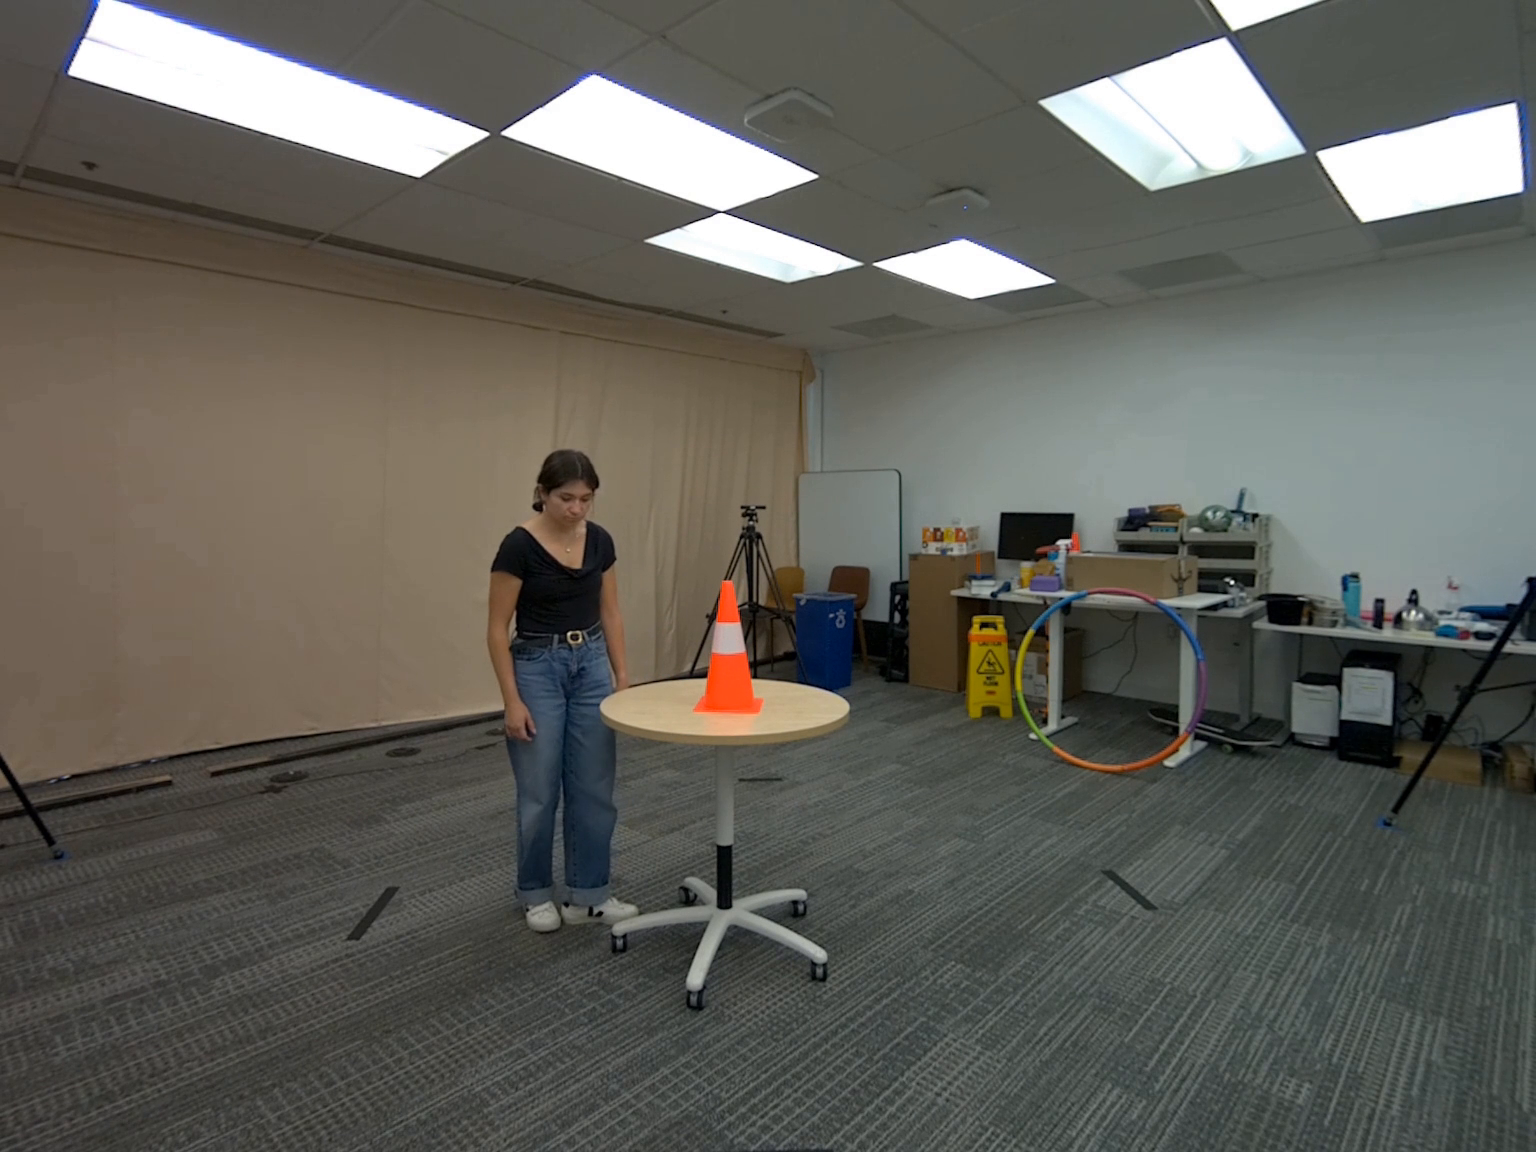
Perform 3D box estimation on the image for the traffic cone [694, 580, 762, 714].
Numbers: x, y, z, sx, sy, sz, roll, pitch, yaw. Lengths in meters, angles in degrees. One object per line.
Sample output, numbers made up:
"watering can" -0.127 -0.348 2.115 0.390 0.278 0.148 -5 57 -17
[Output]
"traffic cone" -0.117 0.211 2.560 0.206 0.383 0.203 -1 3 2
